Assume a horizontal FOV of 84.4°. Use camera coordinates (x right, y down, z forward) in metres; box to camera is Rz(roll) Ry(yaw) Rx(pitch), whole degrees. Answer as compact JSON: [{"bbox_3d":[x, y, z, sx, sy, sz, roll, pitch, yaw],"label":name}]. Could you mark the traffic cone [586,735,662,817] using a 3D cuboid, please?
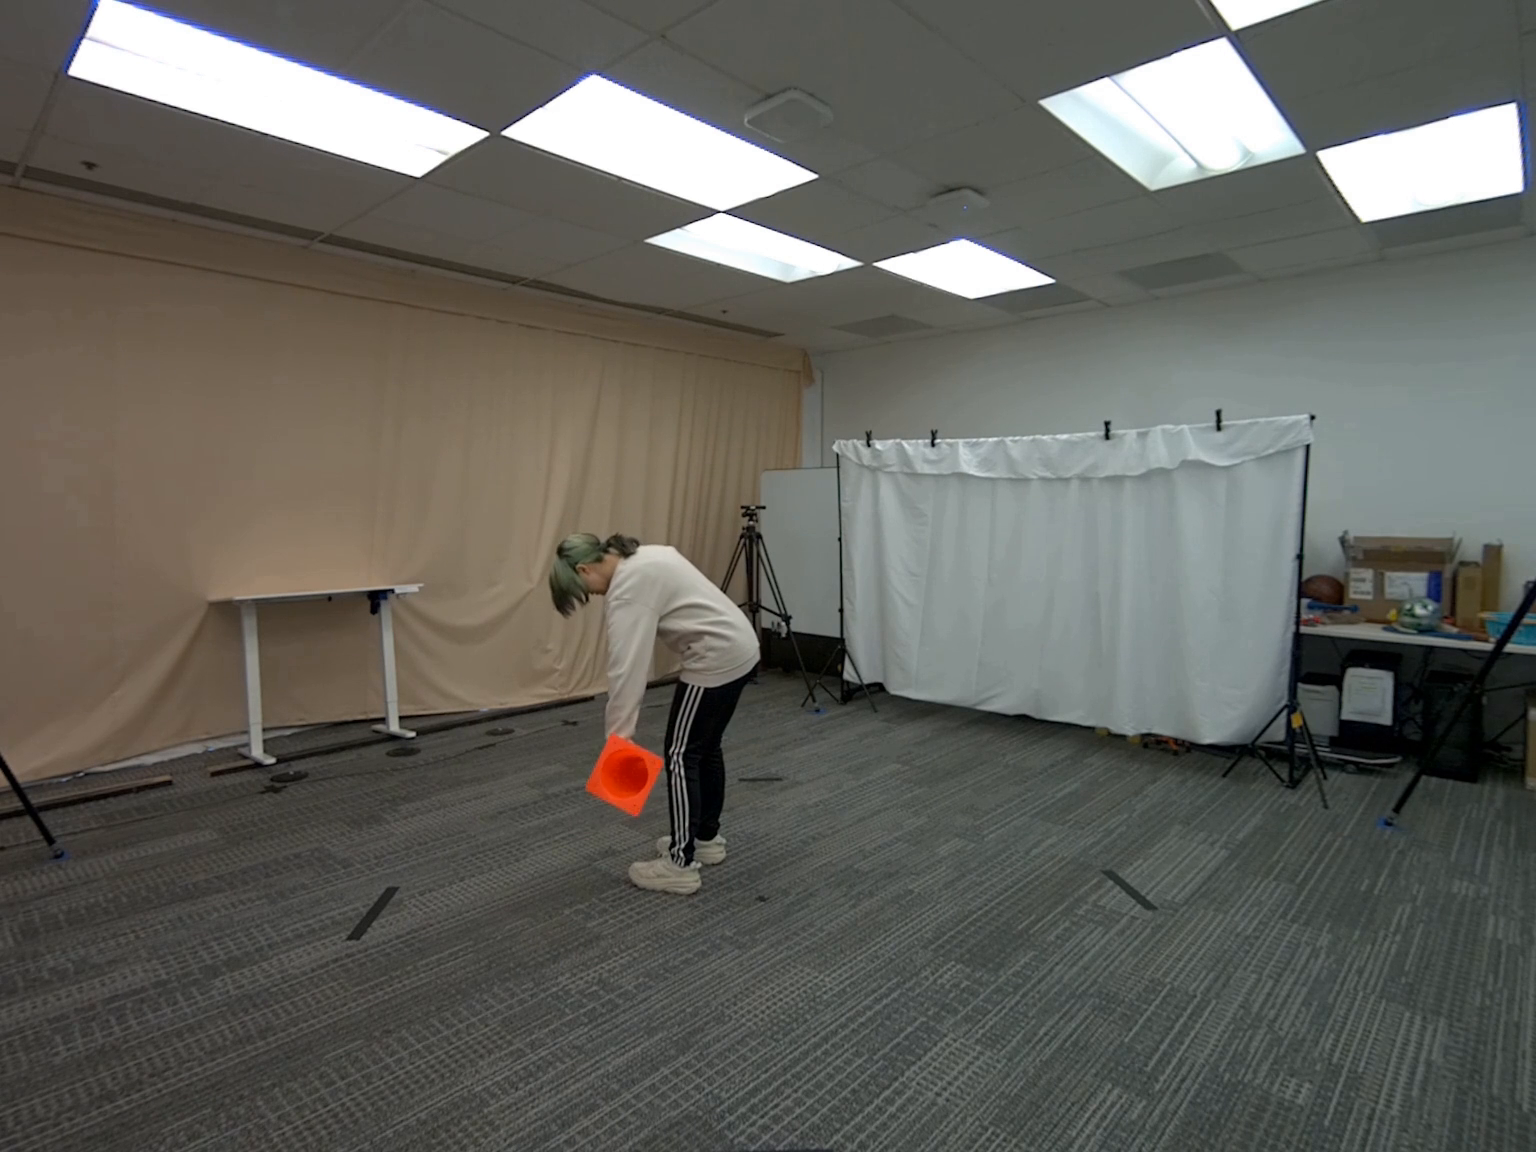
[{"bbox_3d":[-0.450,0.680,2.904,0.206,0.205,0.379,35,-8,10],"label":"traffic cone"}]
